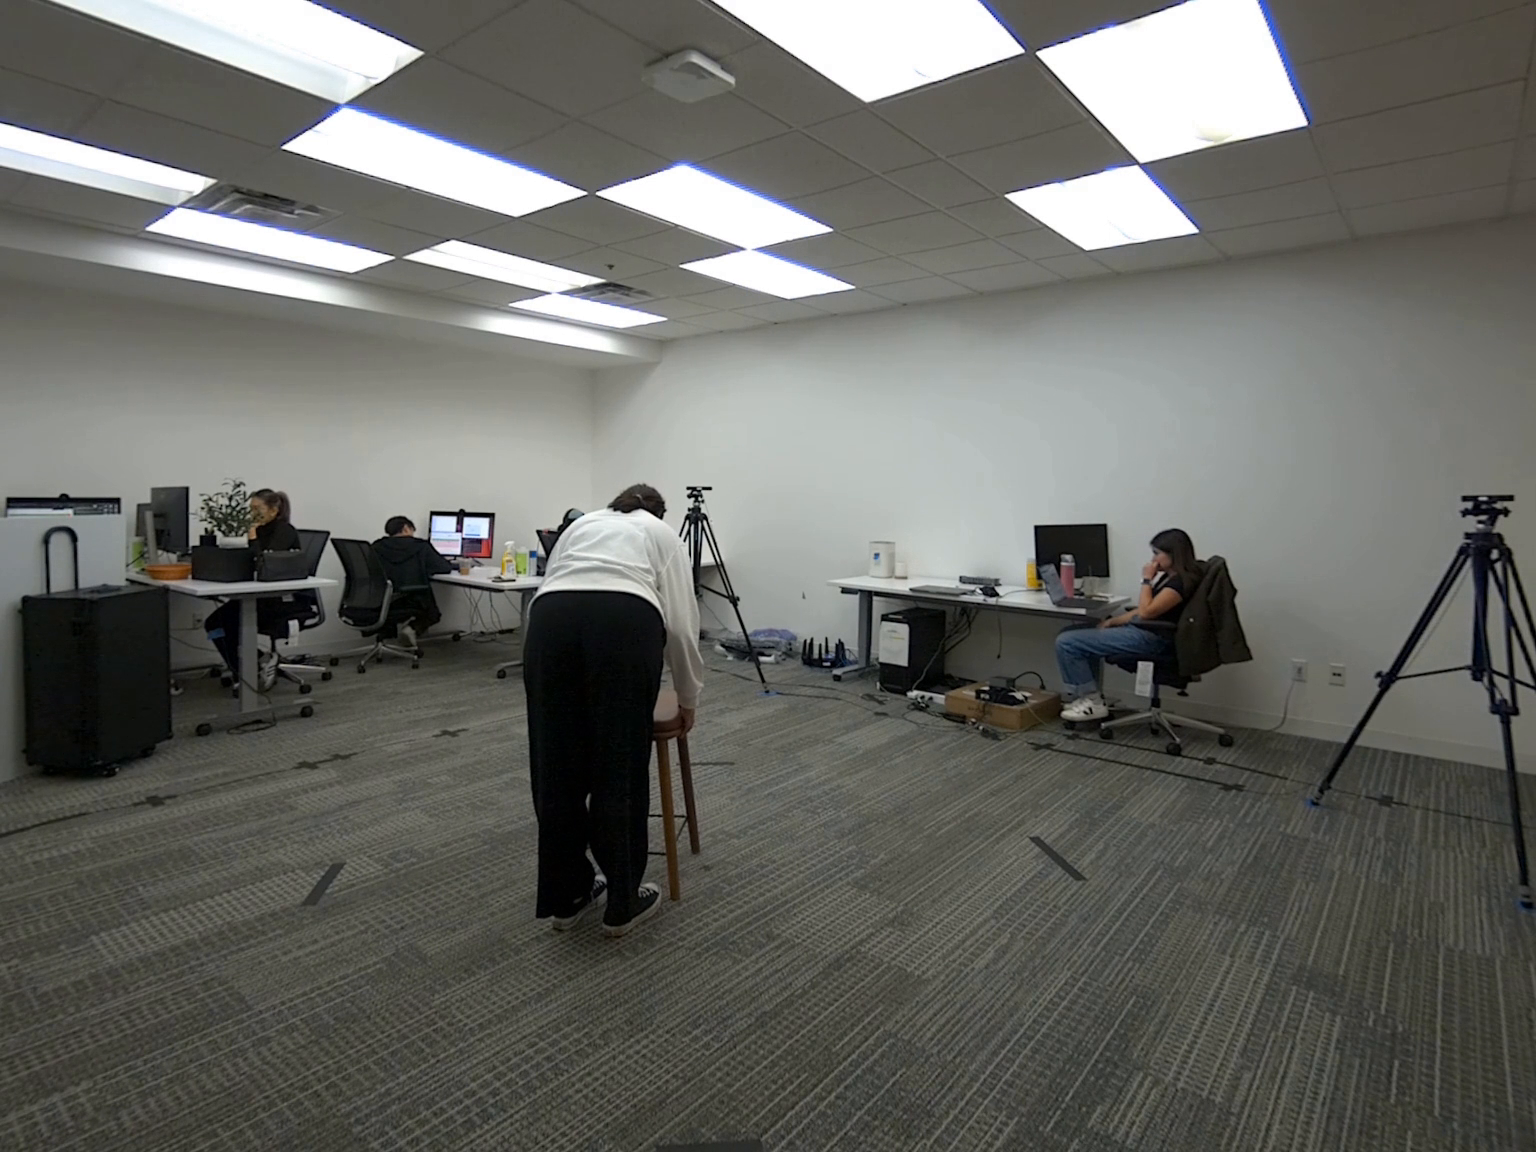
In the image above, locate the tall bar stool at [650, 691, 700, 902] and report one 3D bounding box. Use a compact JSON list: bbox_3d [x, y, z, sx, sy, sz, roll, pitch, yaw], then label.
[{"bbox_3d":[-0.500,0.628,3.066,0.473,0.887,0.453,0,3,9],"label":"tall bar stool"}]
